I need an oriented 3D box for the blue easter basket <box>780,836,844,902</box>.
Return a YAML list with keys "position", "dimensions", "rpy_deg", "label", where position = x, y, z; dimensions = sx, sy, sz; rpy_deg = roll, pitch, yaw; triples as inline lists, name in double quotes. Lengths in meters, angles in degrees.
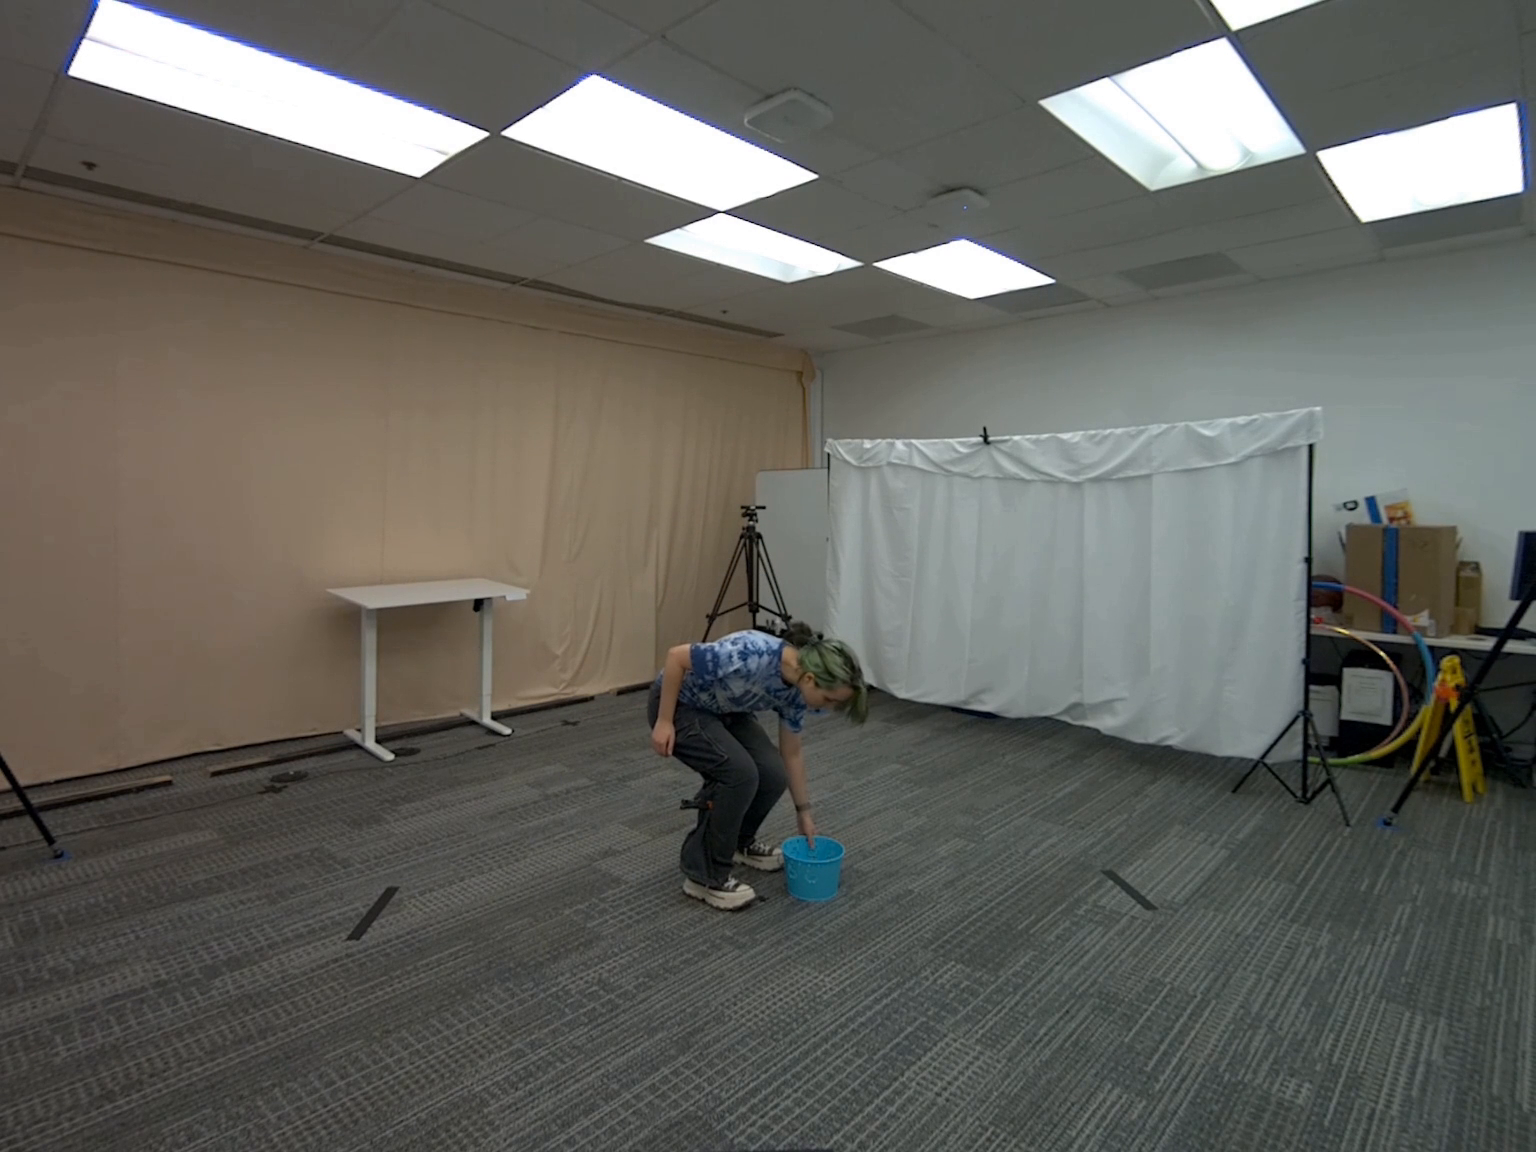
- position: [0.169, 1.063, 3.050]
  dimensions: [0.243, 0.155, 0.244]
  rpy_deg: [0, 4, -2]
  label: "blue easter basket"
